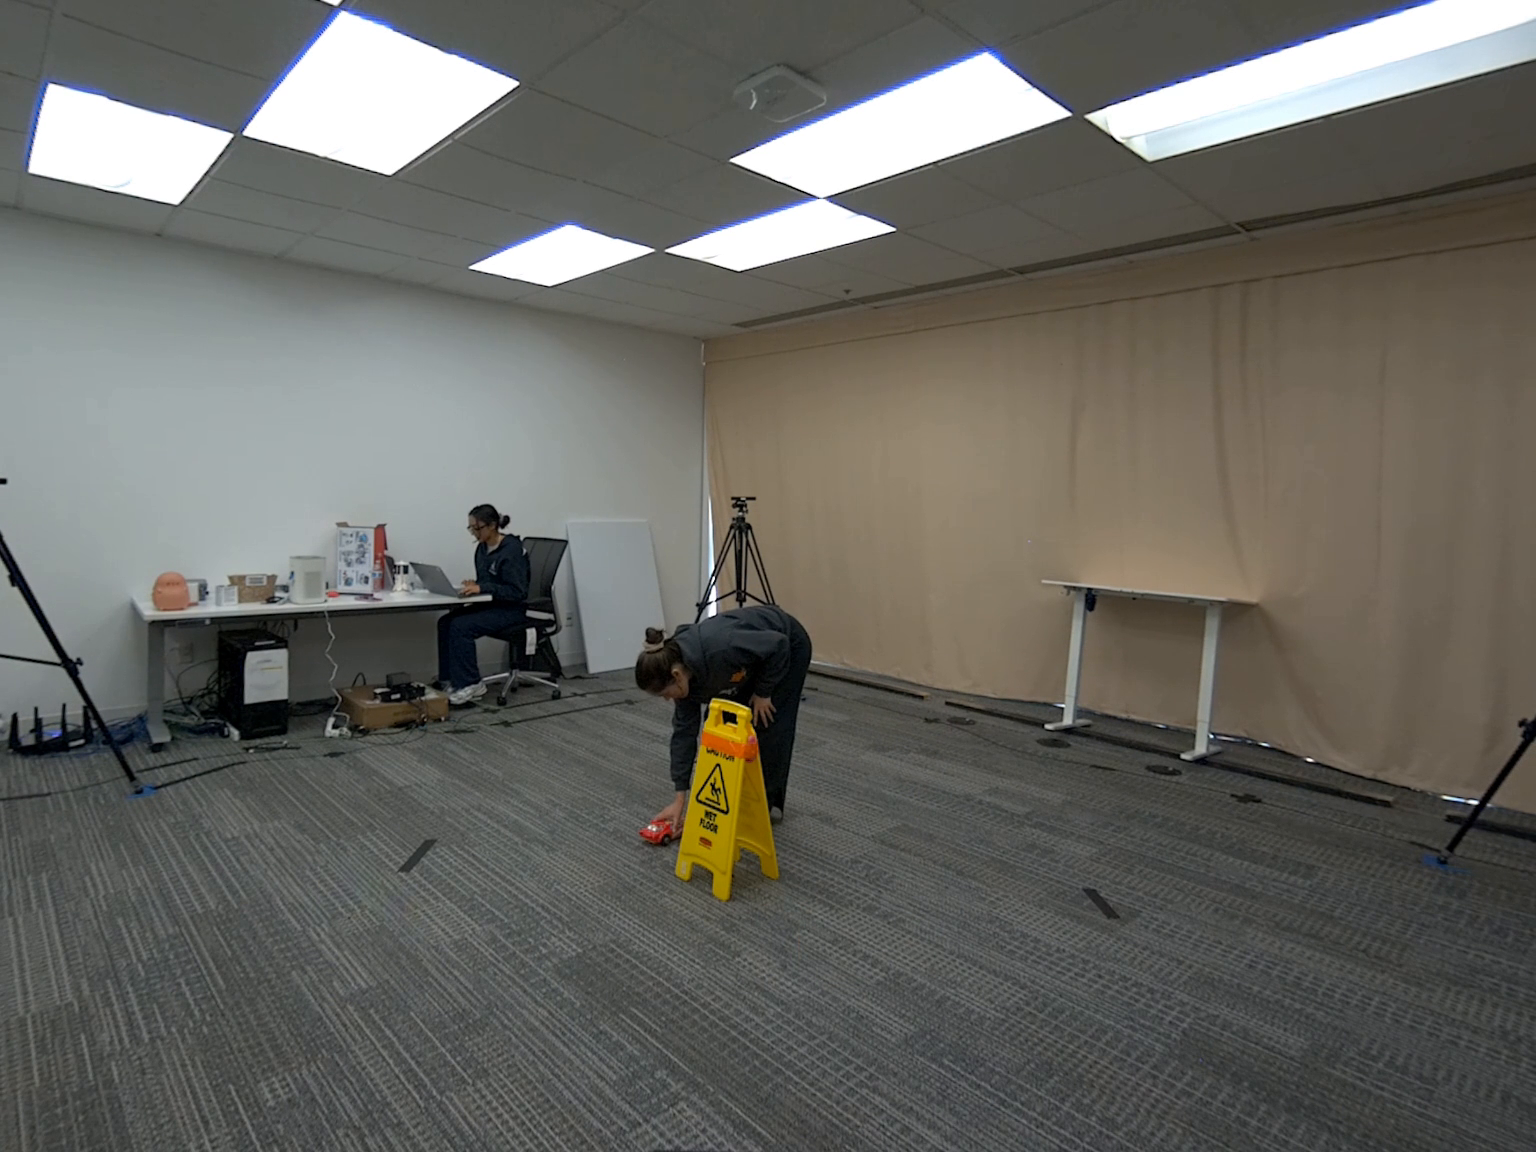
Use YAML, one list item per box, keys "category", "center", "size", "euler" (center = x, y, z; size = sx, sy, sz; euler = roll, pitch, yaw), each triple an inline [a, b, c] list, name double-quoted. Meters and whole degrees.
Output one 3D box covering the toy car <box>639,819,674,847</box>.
- category: "toy car"
  center: [-0.430, 1.041, 3.439]
  size: [0.133, 0.083, 0.247]
  euler: [4, -6, 42]
